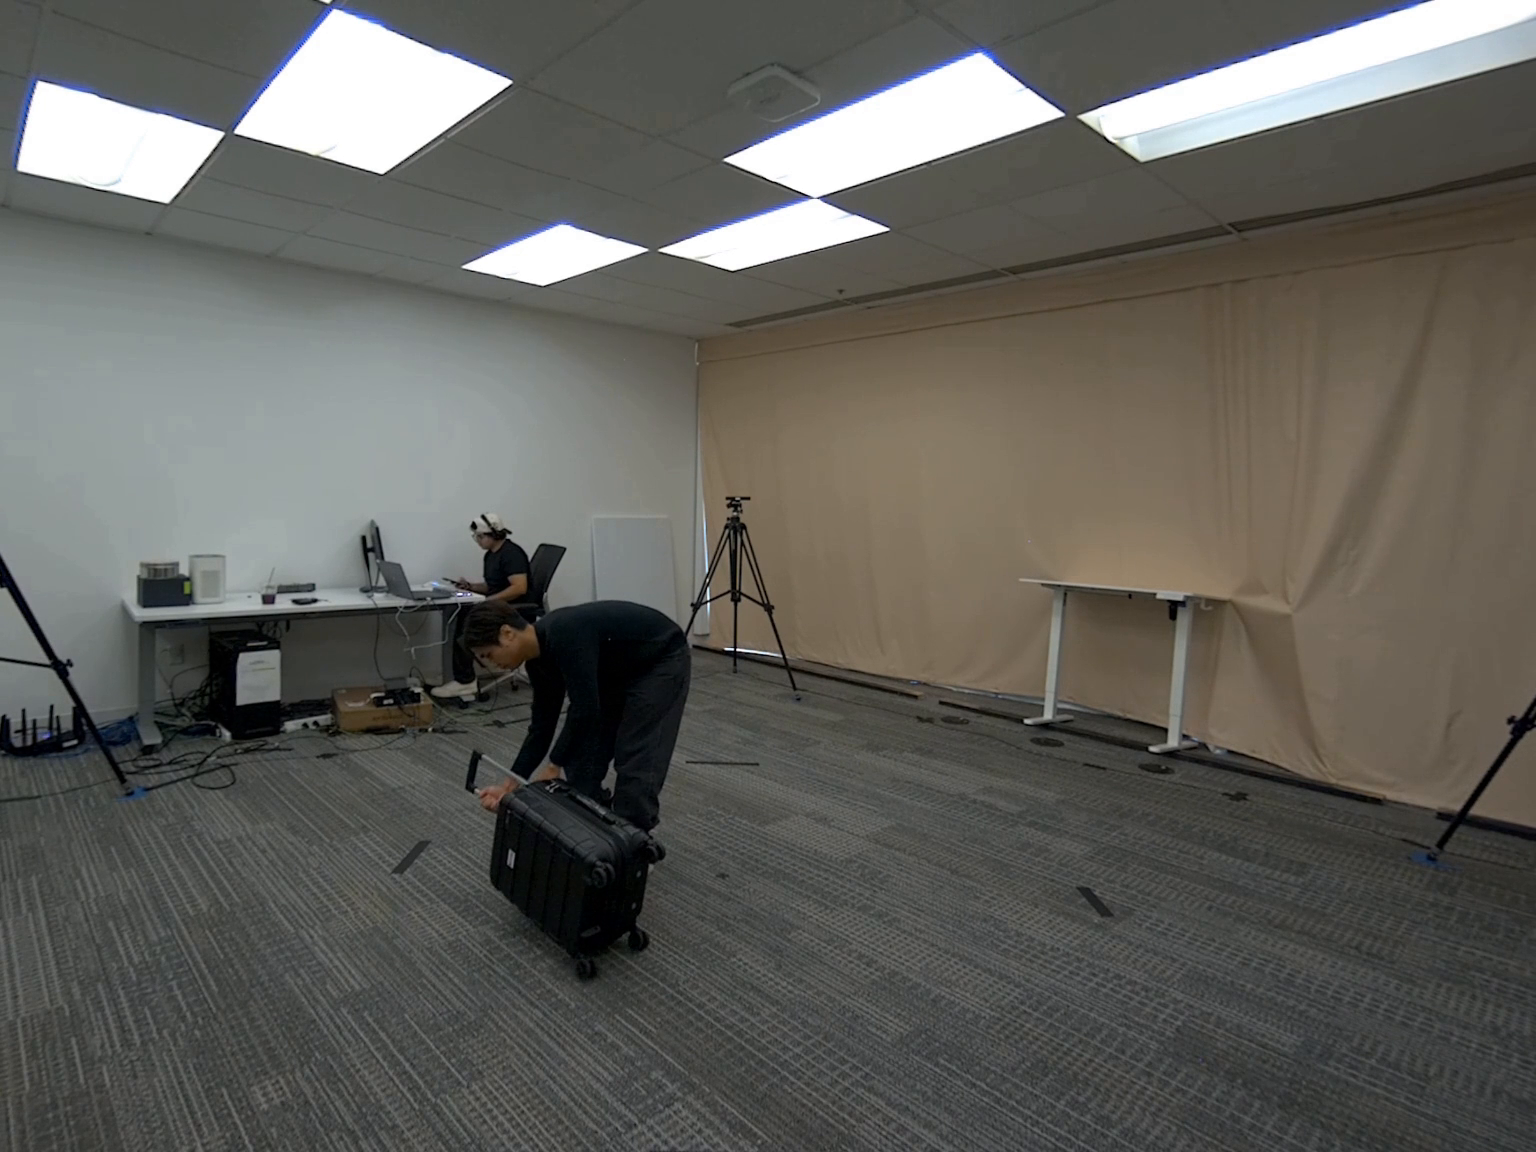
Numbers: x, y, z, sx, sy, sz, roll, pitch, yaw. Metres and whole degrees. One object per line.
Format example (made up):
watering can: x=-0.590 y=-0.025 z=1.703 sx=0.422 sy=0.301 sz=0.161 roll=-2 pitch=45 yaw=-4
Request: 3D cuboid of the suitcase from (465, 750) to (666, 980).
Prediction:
suitcase: x=-0.791 y=0.855 z=2.747 sx=1.006 sy=0.381 sz=0.251 roll=19 pitch=13 yaw=36
